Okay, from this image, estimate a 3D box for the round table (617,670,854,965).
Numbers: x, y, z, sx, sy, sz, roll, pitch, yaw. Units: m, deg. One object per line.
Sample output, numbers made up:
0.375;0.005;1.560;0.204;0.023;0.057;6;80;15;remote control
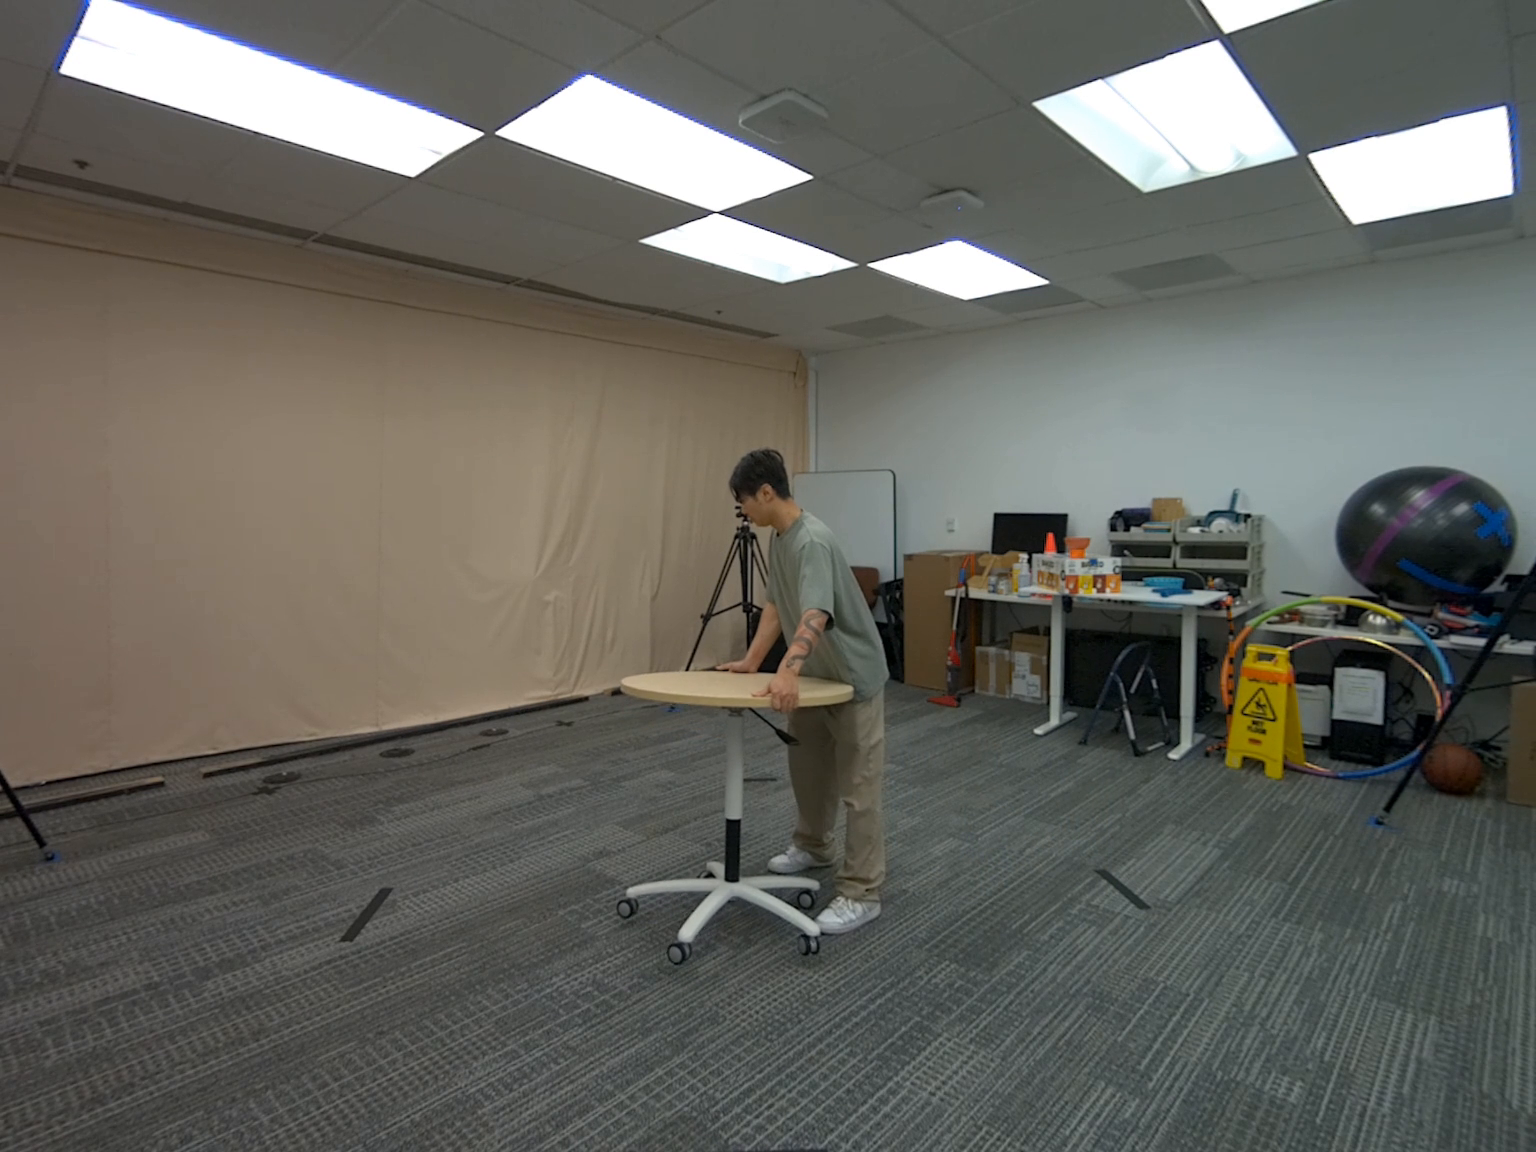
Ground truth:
-0.127;0.749;2.761;0.784;0.788;0.785;1;-2;-2;round table
